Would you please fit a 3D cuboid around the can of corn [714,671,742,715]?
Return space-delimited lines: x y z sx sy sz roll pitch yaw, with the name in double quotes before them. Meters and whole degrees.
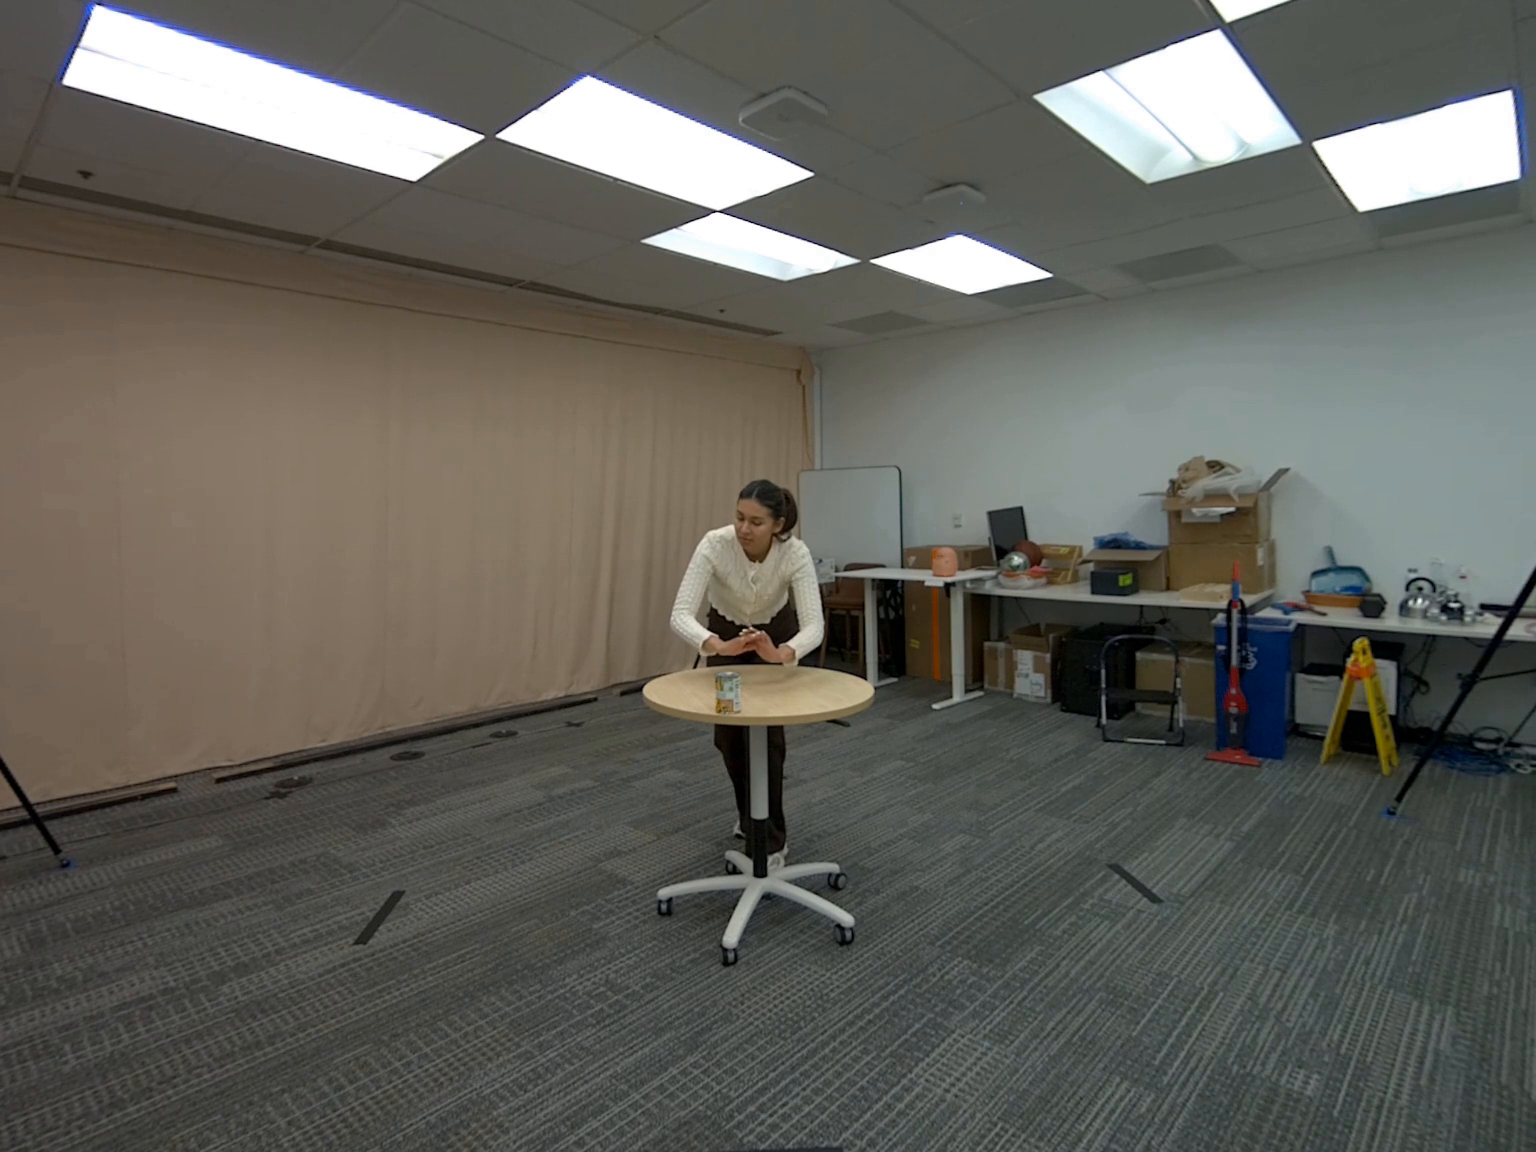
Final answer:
"can of corn" -0.114 0.344 2.484 0.074 0.110 0.074 -5 7 -1
